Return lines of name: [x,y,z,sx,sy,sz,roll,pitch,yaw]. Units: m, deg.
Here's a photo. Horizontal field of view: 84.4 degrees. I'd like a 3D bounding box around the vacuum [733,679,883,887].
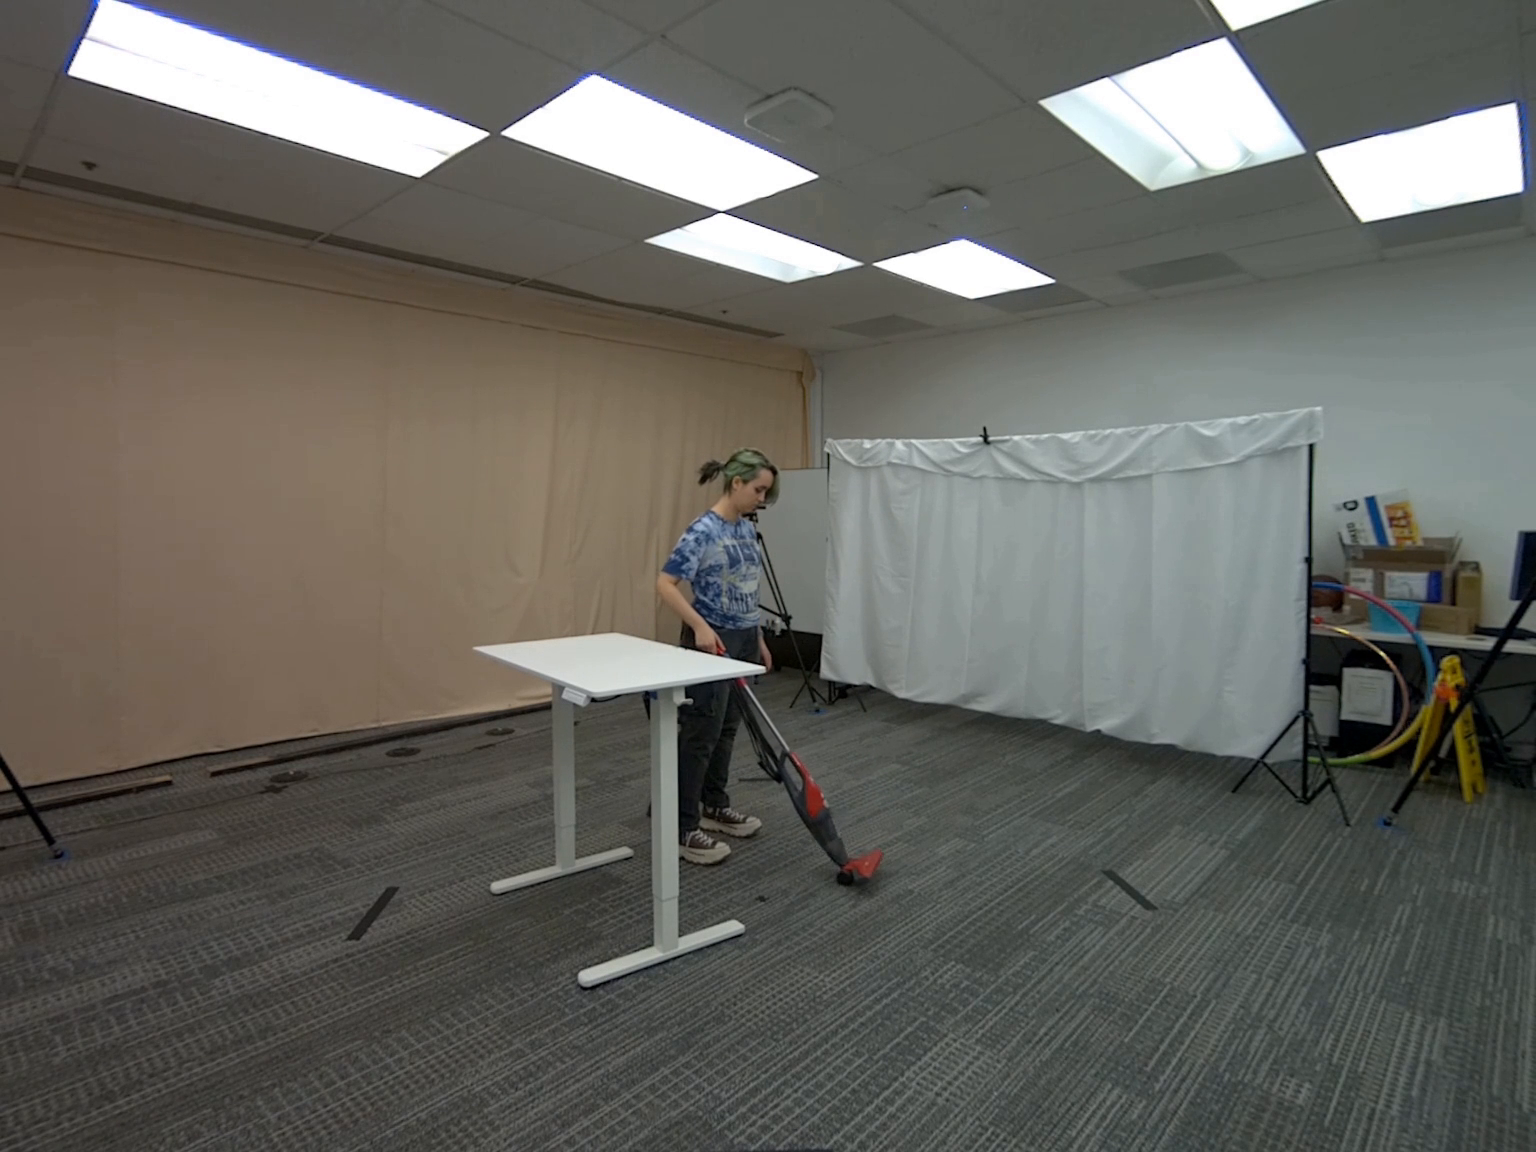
vacuum: [0.056,0.690,3.227,0.145,1.064,0.247,-40,-13,18]
